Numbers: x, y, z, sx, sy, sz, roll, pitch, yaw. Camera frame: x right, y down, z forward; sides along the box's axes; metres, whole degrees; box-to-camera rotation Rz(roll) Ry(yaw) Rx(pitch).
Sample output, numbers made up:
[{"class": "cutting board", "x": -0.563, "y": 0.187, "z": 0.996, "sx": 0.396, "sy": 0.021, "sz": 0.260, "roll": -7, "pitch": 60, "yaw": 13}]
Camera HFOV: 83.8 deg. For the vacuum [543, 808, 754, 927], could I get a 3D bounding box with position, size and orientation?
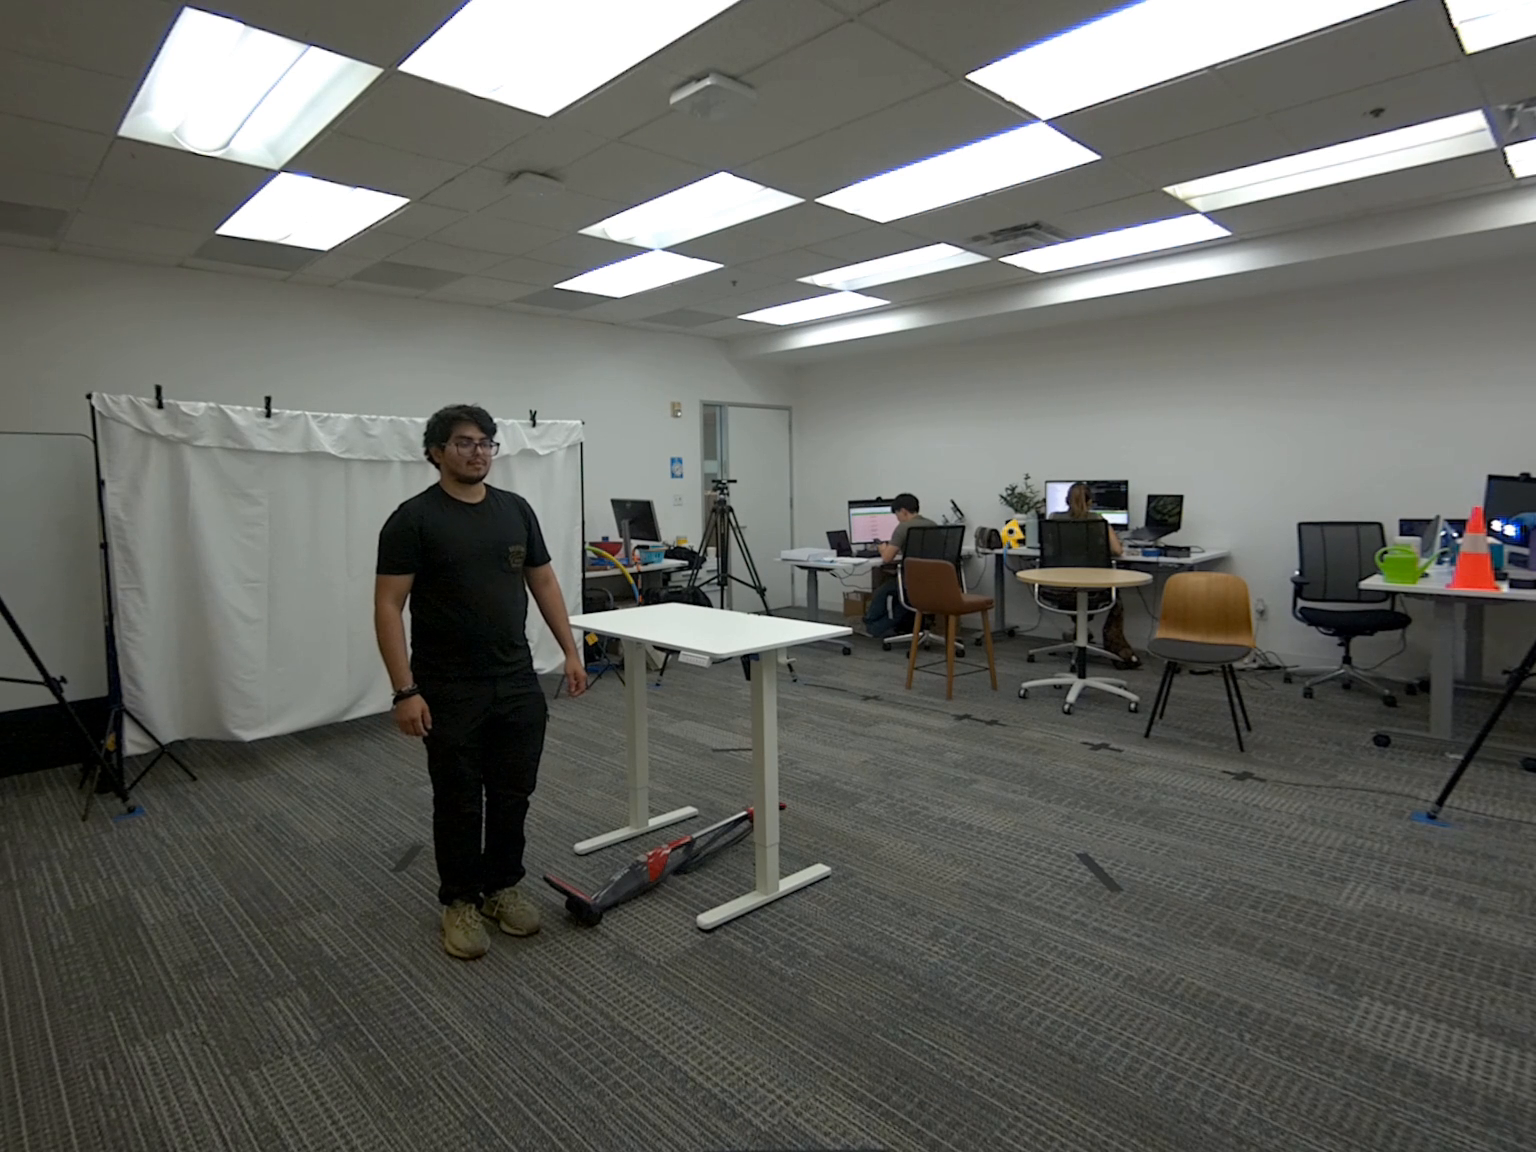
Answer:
[{"class": "vacuum", "x": -0.273, "y": 0.996, "z": 3.085, "sx": 0.260, "sy": 0.143, "sz": 1.022, "roll": 5, "pitch": 8, "yaw": 41}]
